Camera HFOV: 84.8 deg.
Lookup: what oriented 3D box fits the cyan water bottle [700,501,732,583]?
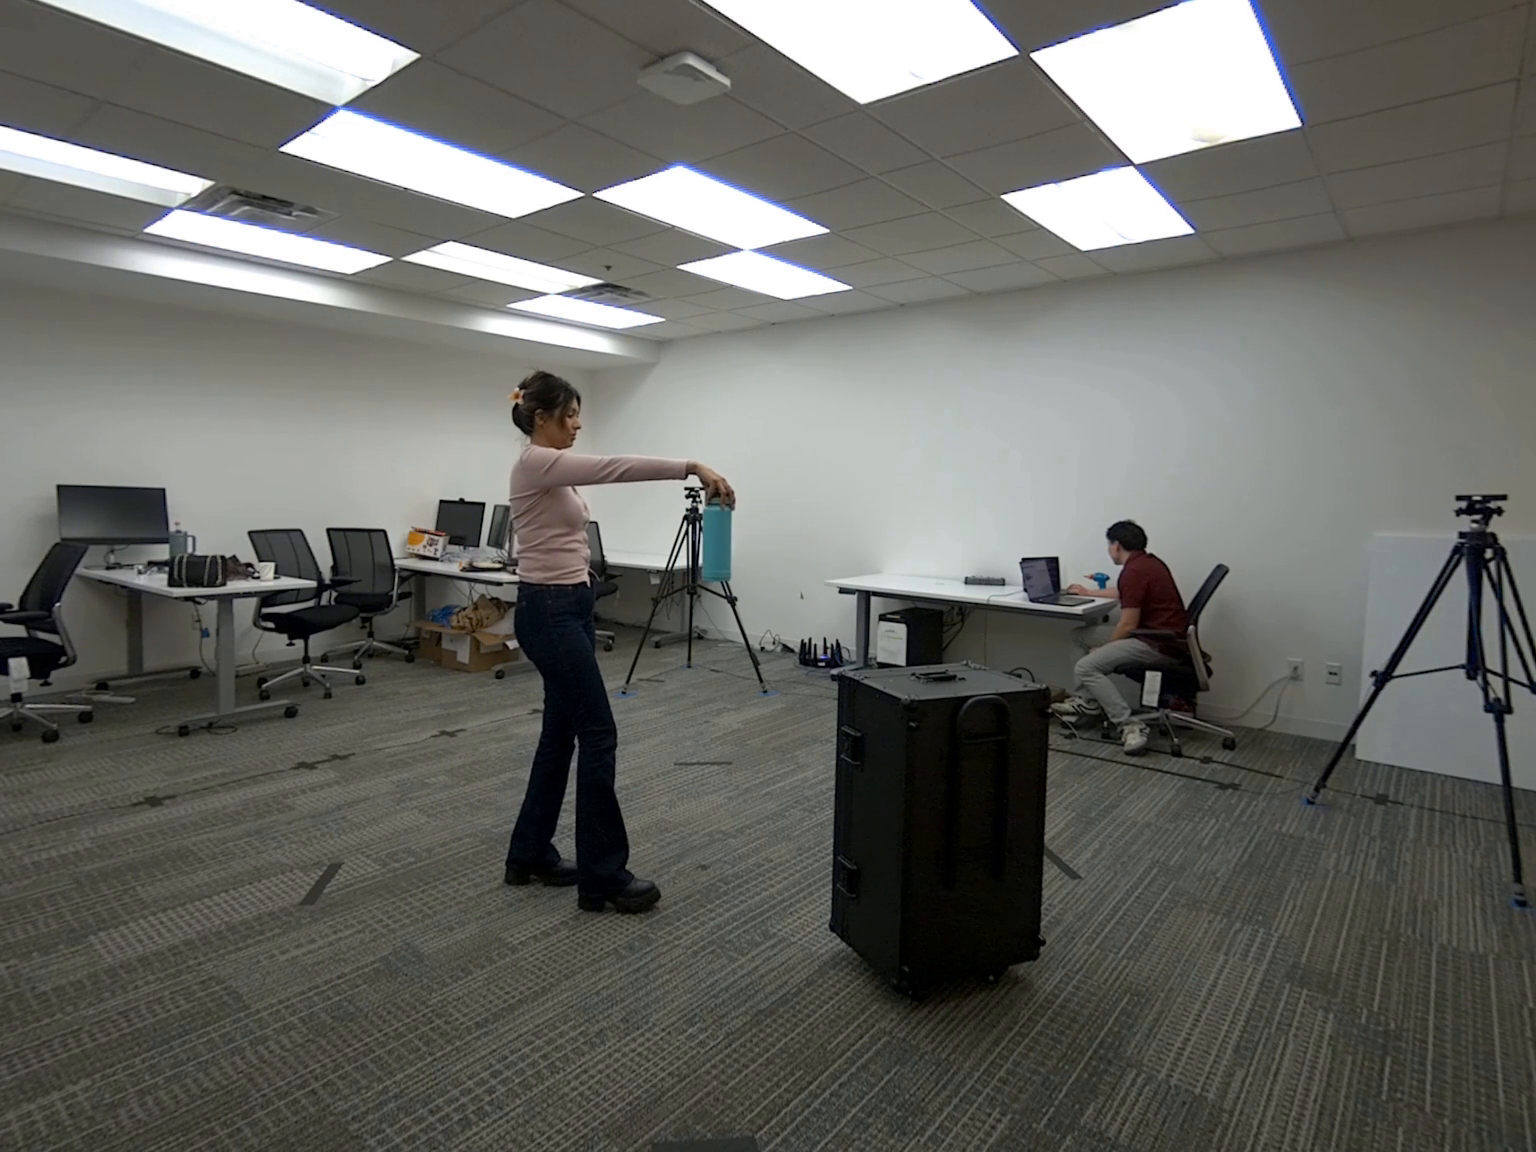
[{"bbox_3d":[-0.162,-0.130,2.592,0.092,0.282,0.093,-1,3,-2],"label":"cyan water bottle"}]
